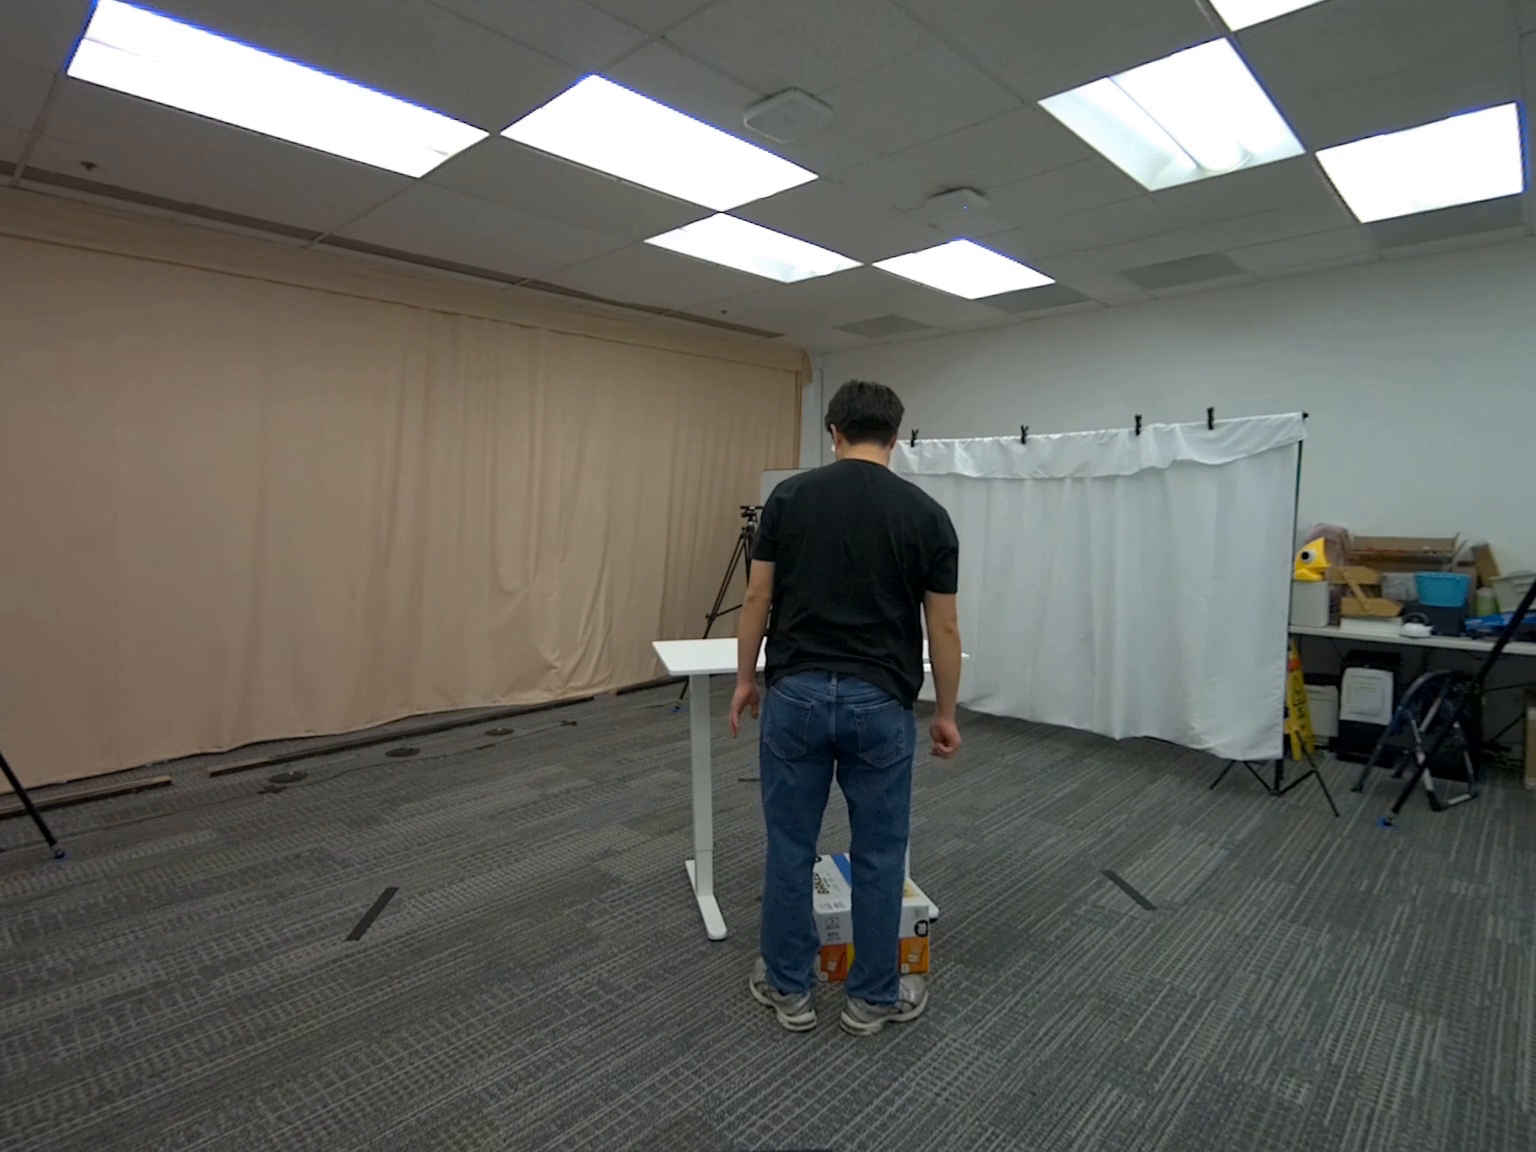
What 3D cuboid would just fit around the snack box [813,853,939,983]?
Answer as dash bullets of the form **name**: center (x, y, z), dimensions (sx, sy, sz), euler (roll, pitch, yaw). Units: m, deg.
- **snack box**: center (0.276, 1.069, 2.674), dimensions (0.337, 0.205, 0.411), euler (-1, 4, -11)
